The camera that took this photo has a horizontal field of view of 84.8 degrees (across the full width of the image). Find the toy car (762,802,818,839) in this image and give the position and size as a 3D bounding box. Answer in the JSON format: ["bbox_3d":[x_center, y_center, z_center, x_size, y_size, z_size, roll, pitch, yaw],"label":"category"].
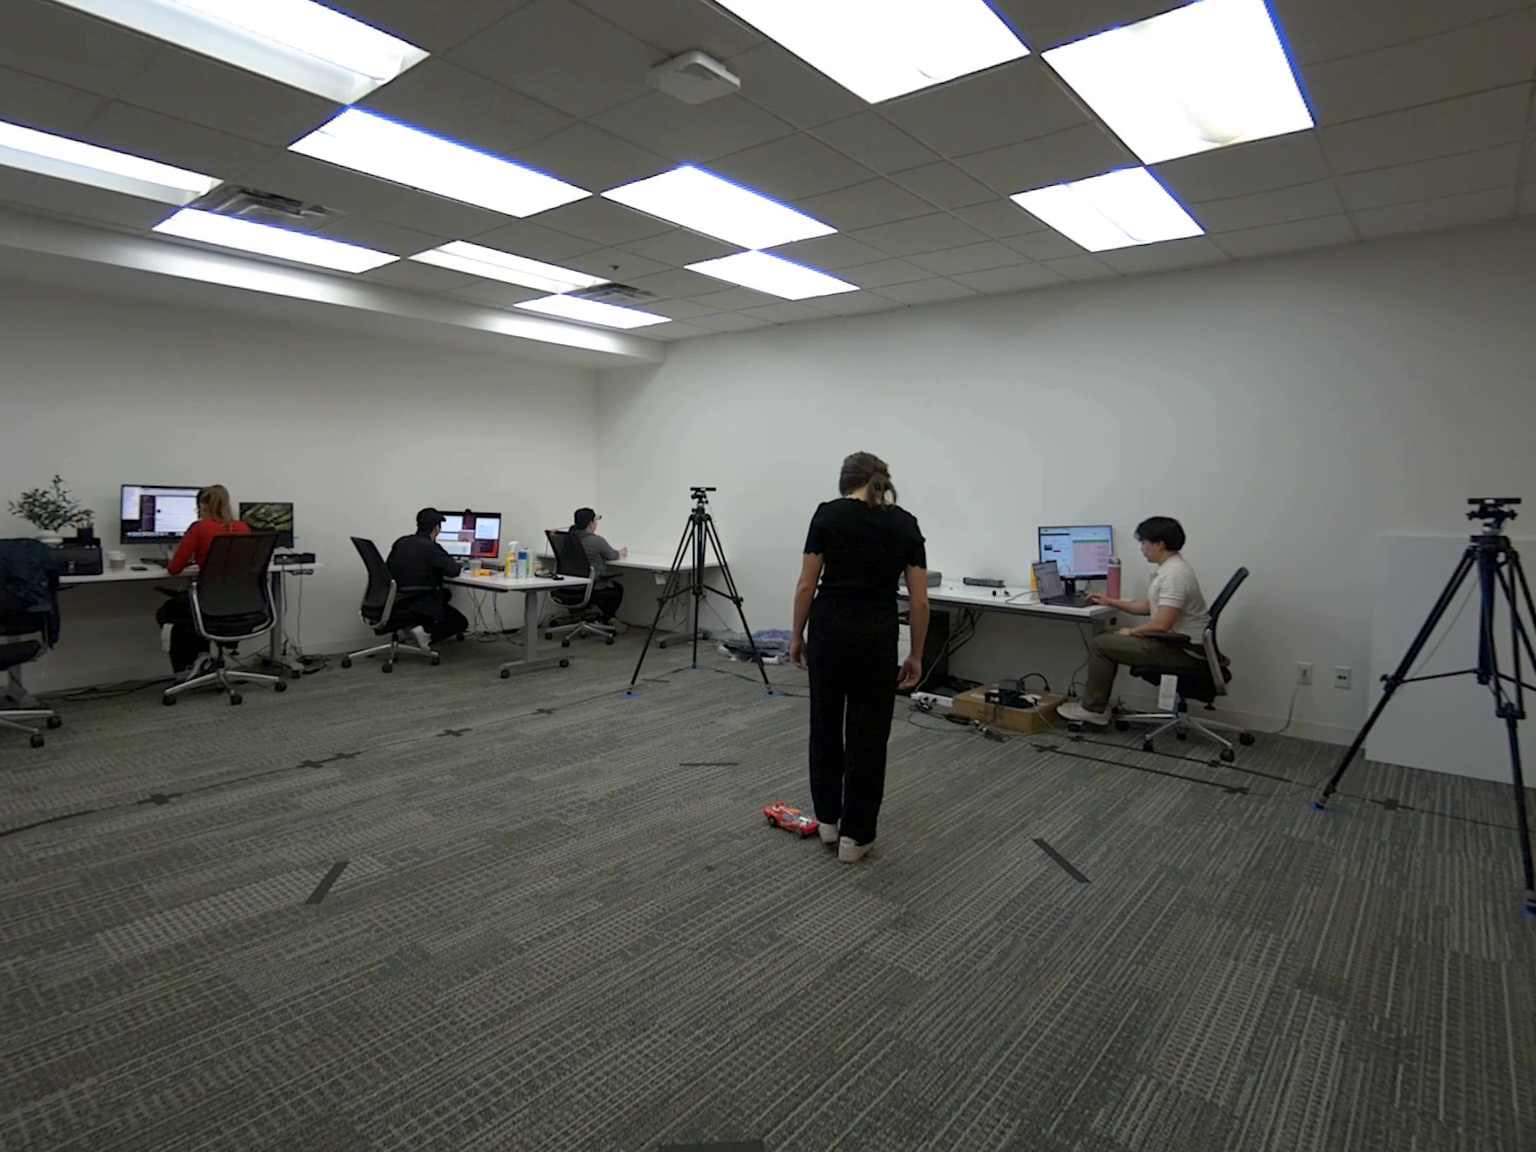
[{"bbox_3d":[0.079,0.999,3.509,0.126,0.082,0.265,-3,18,-45],"label":"toy car"}]
